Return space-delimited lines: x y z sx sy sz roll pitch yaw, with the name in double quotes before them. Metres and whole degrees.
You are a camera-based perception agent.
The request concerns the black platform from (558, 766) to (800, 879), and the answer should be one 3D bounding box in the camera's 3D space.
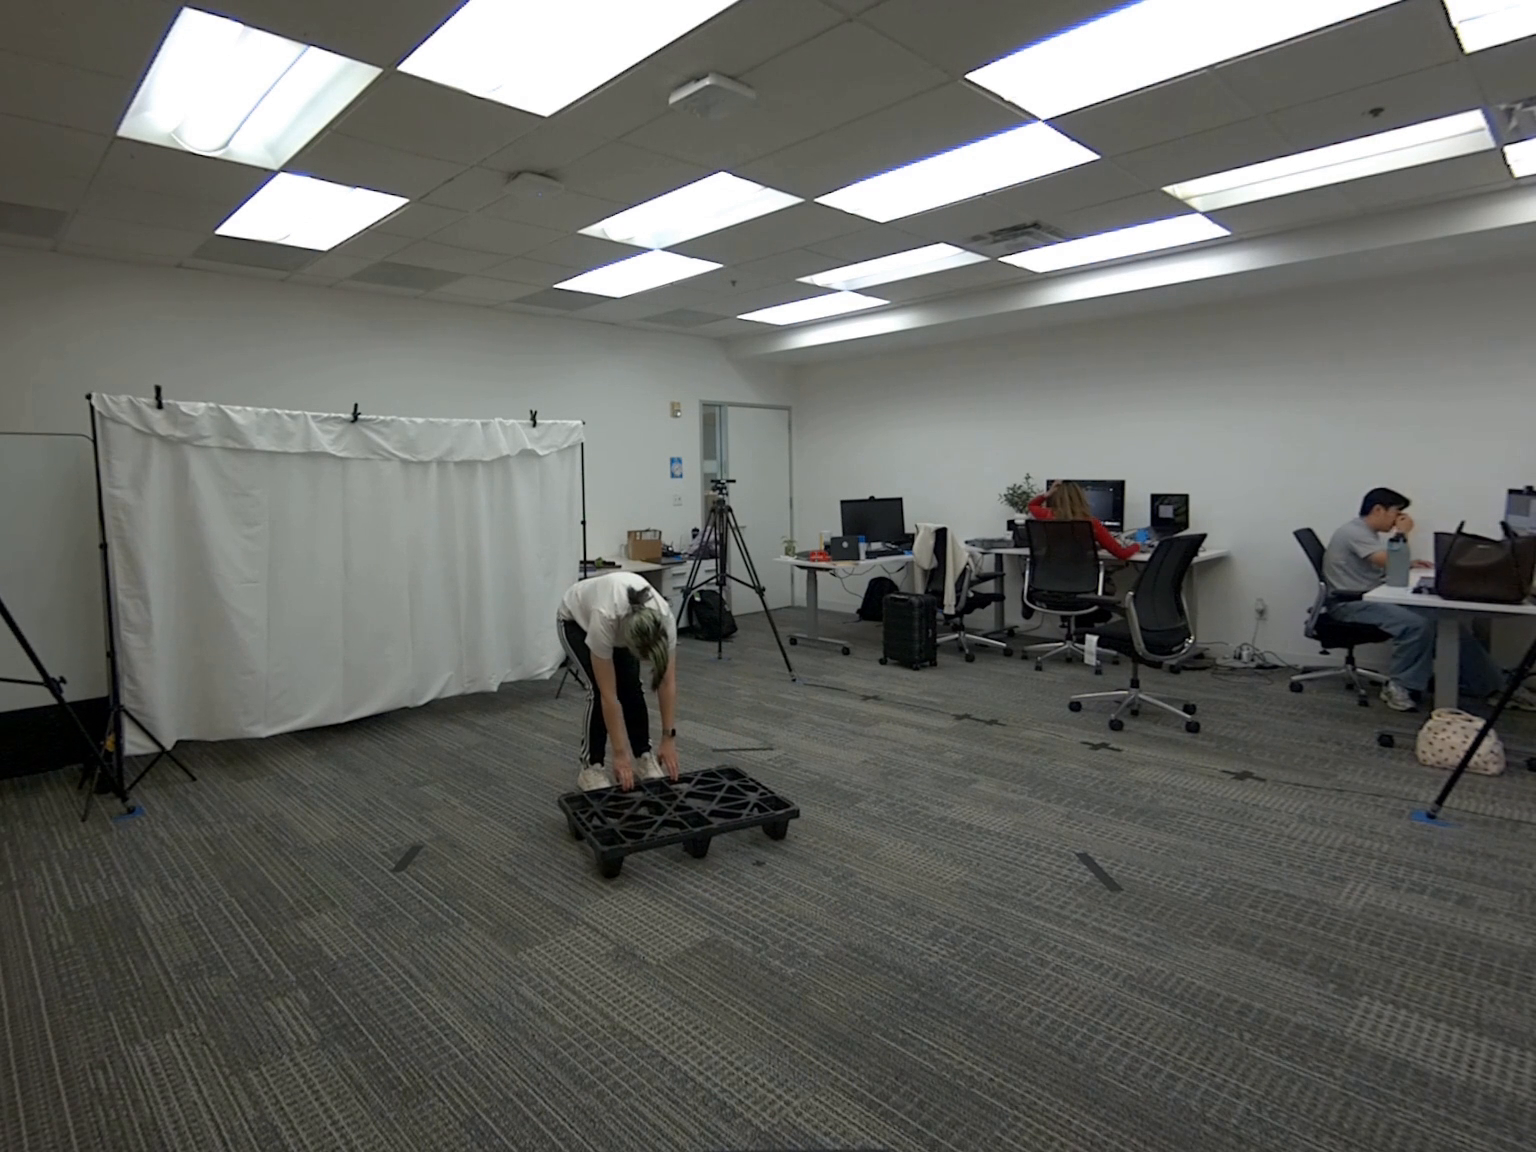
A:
"black platform" -0.368 0.956 3.375 0.788 0.143 0.621 -4 6 -27
